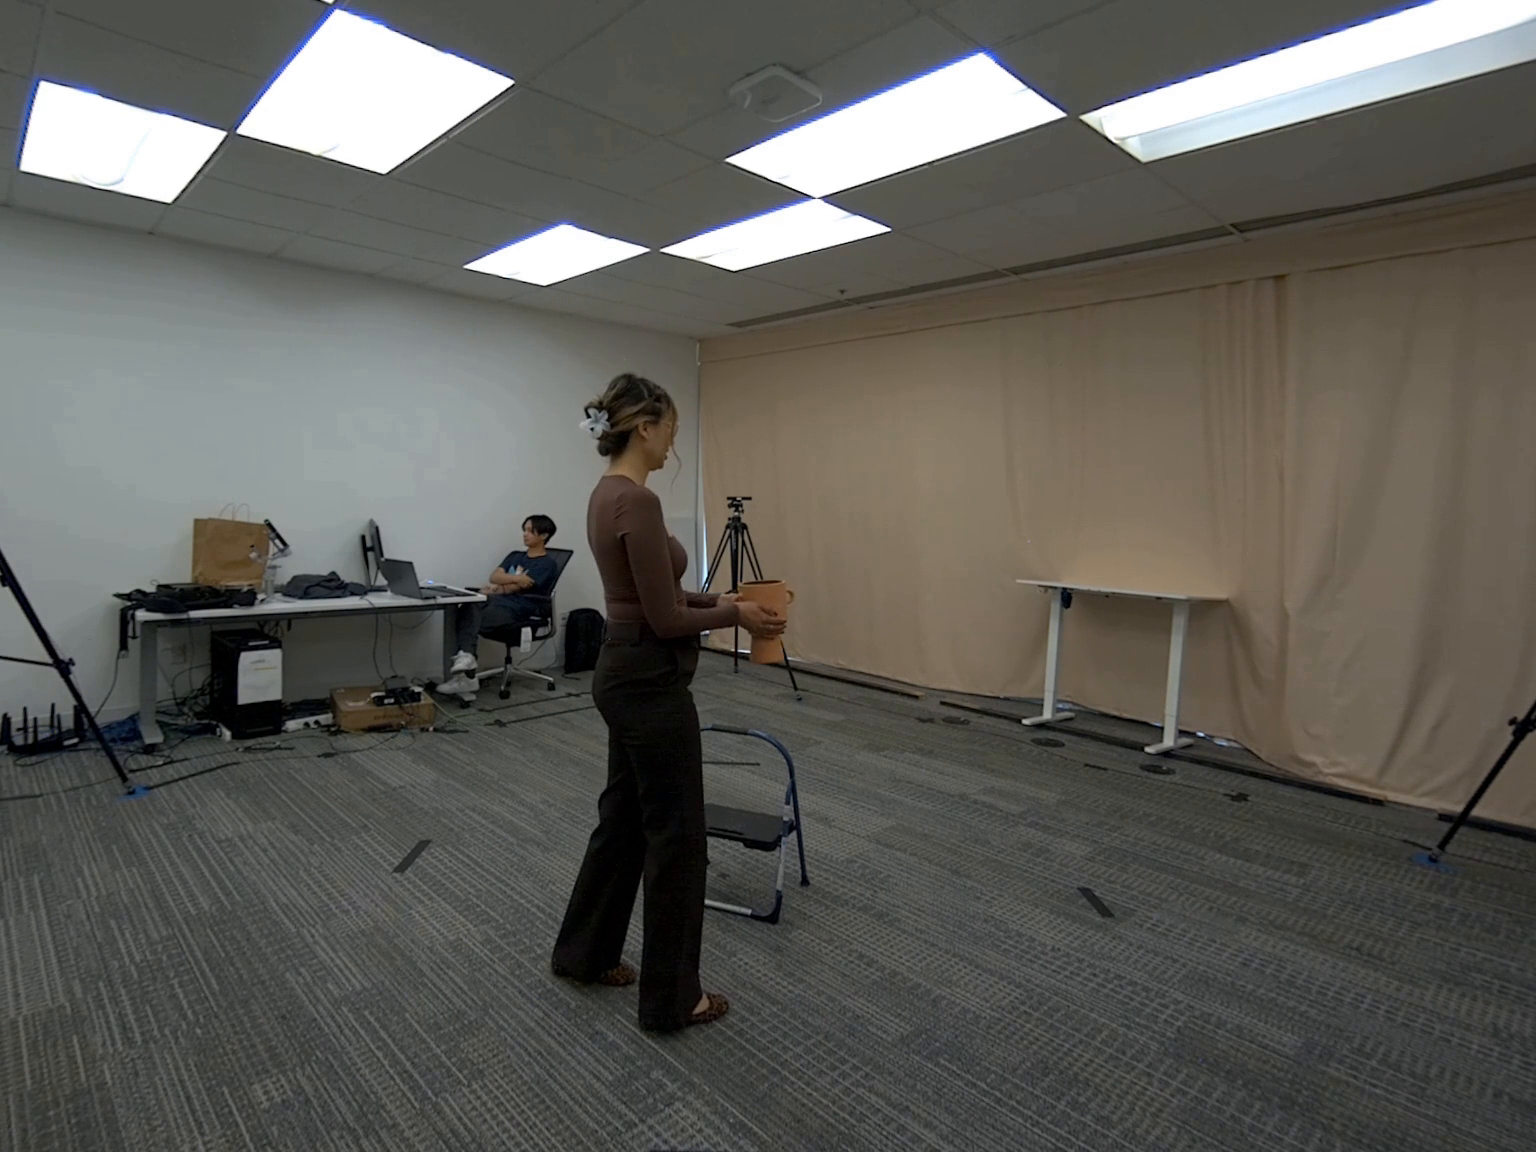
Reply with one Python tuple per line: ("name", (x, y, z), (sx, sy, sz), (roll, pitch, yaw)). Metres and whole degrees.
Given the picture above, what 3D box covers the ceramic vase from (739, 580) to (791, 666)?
("ceramic vase", (-0.017, 0.131, 2.347), (0.160, 0.219, 0.134), (-2, 6, 12))
